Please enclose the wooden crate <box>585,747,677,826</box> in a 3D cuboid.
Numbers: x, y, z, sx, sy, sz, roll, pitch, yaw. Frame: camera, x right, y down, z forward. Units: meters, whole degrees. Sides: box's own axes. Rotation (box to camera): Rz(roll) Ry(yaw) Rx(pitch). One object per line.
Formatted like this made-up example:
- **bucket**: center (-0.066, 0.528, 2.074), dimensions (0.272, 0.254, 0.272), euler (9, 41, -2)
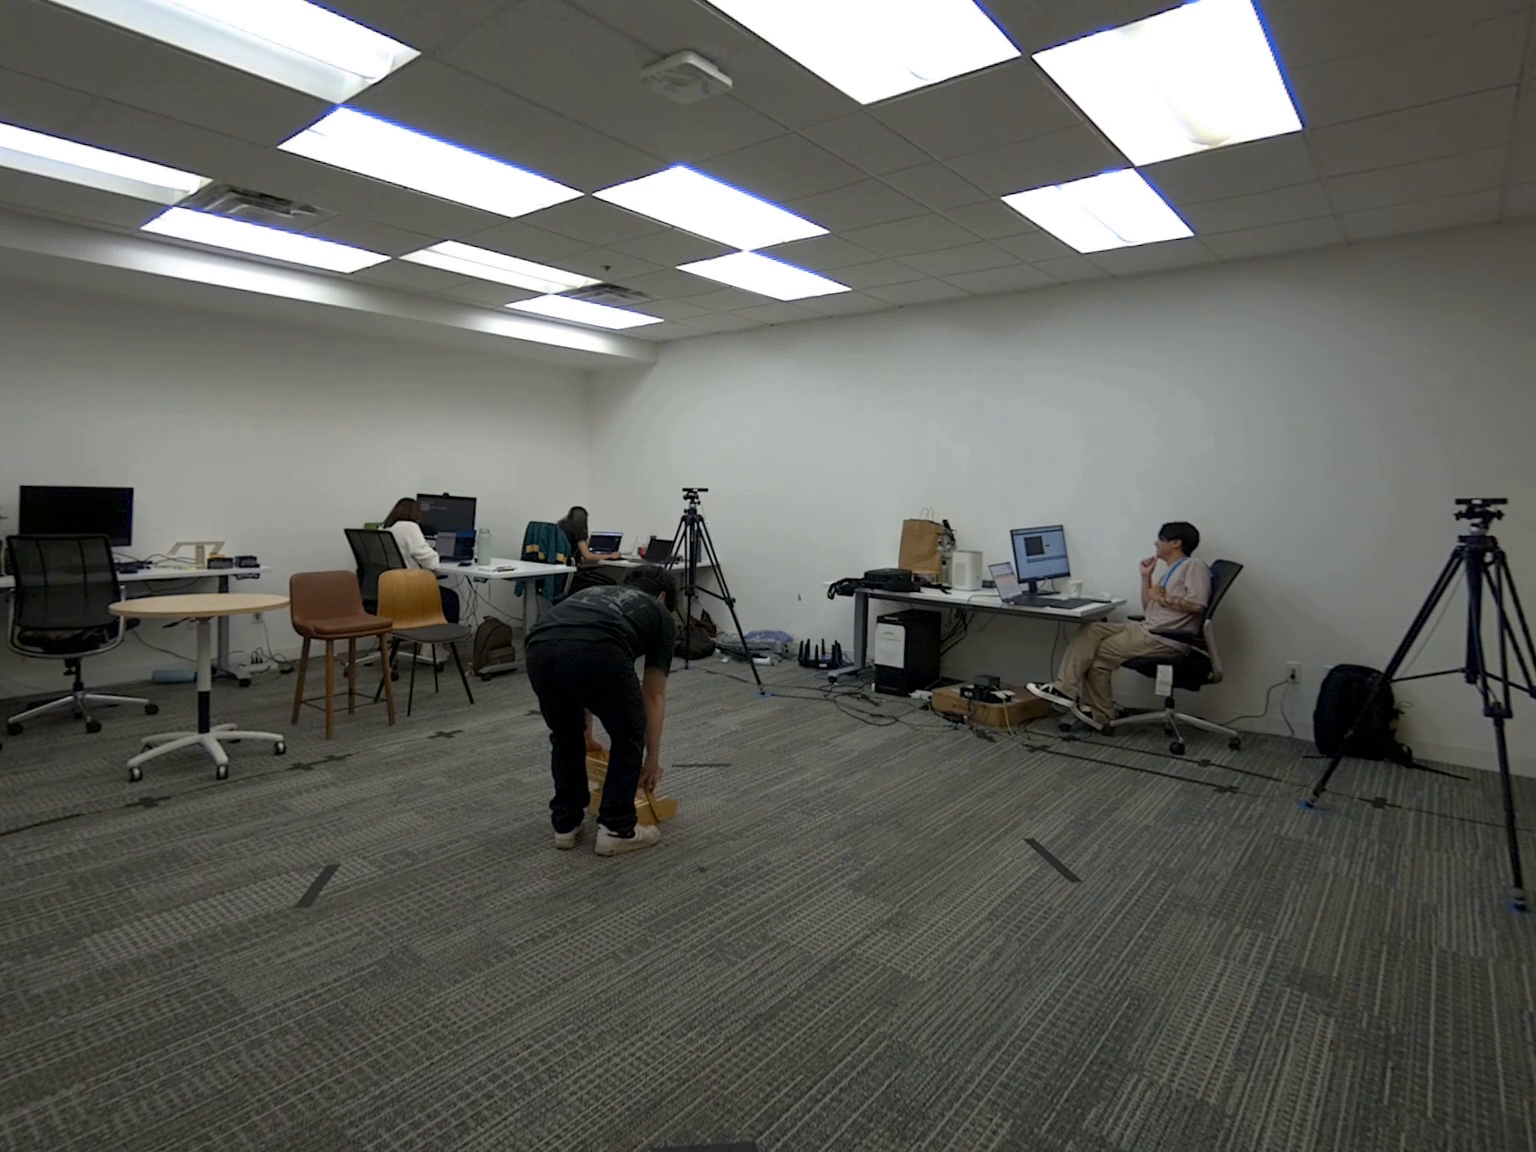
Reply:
- **wooden crate**: center (-0.603, 0.878, 3.610), dimensions (0.335, 0.272, 0.293), euler (5, 6, 38)
